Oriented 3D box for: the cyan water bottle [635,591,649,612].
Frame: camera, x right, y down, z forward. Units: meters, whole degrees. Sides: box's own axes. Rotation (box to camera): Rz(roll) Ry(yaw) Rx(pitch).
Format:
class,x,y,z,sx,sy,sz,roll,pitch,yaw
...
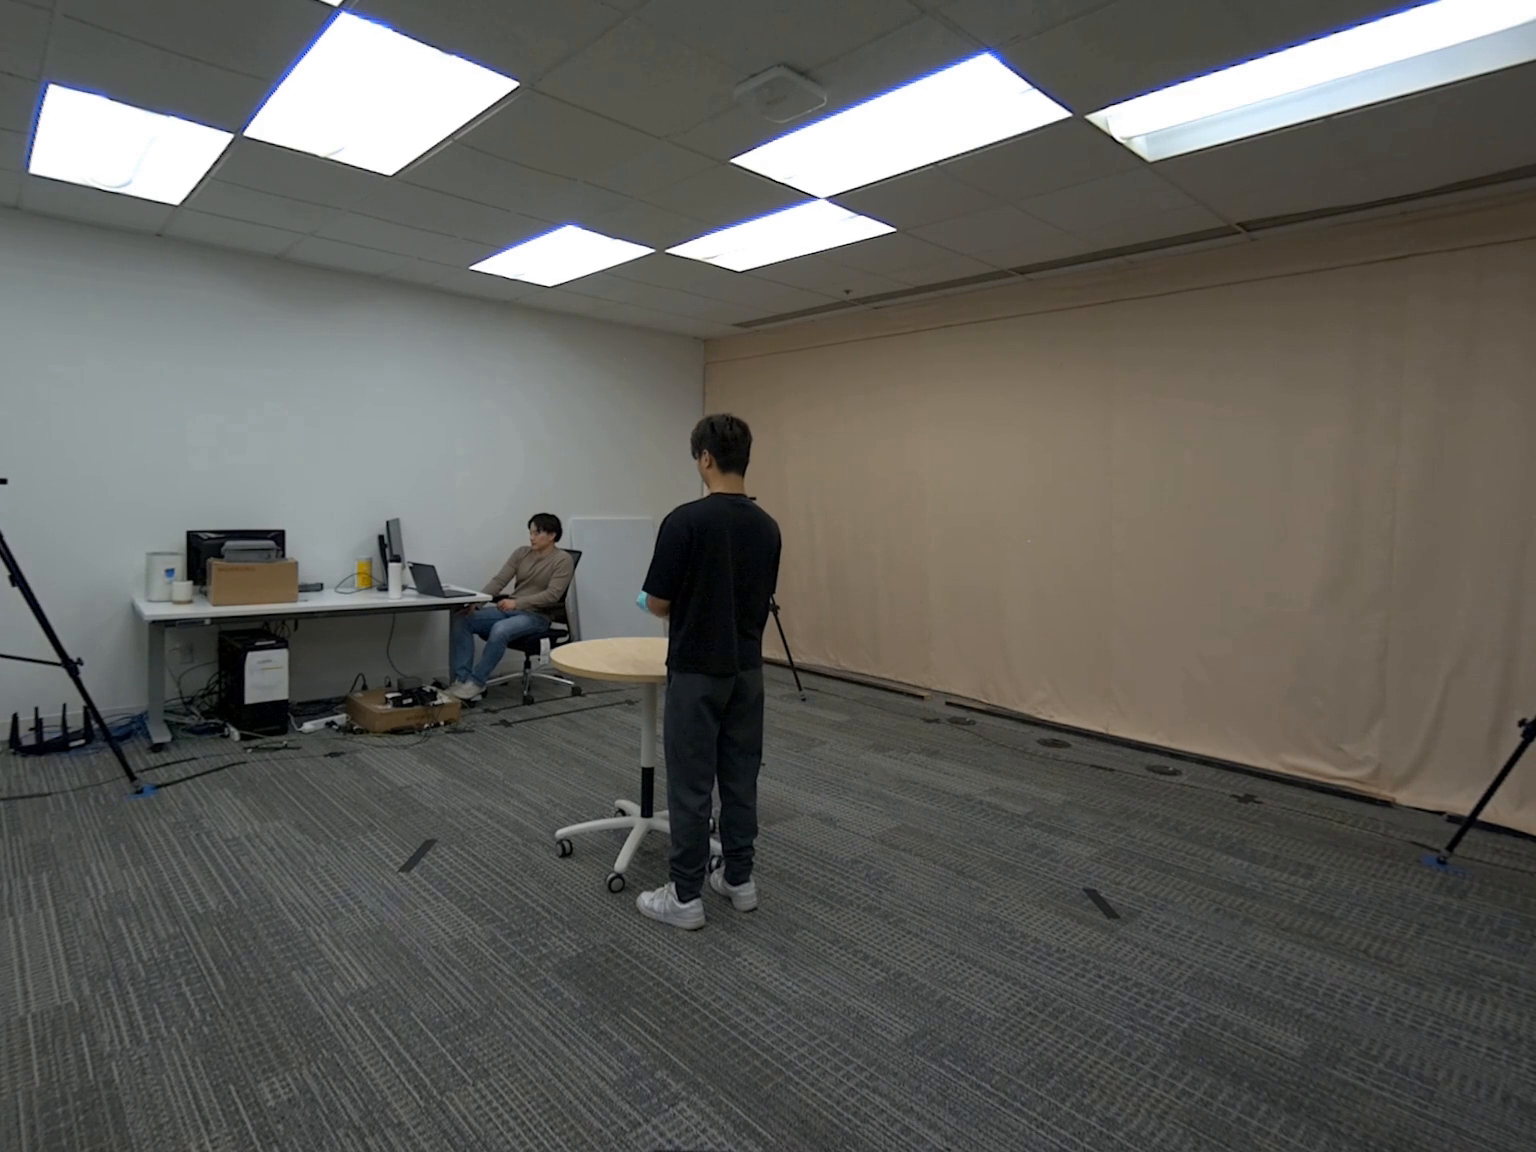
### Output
class,x,y,z,sx,sy,sz,roll,pitch,yaw
cyan water bottle,-0.381,0.019,3.120,0.093,0.284,0.091,31,-20,11
